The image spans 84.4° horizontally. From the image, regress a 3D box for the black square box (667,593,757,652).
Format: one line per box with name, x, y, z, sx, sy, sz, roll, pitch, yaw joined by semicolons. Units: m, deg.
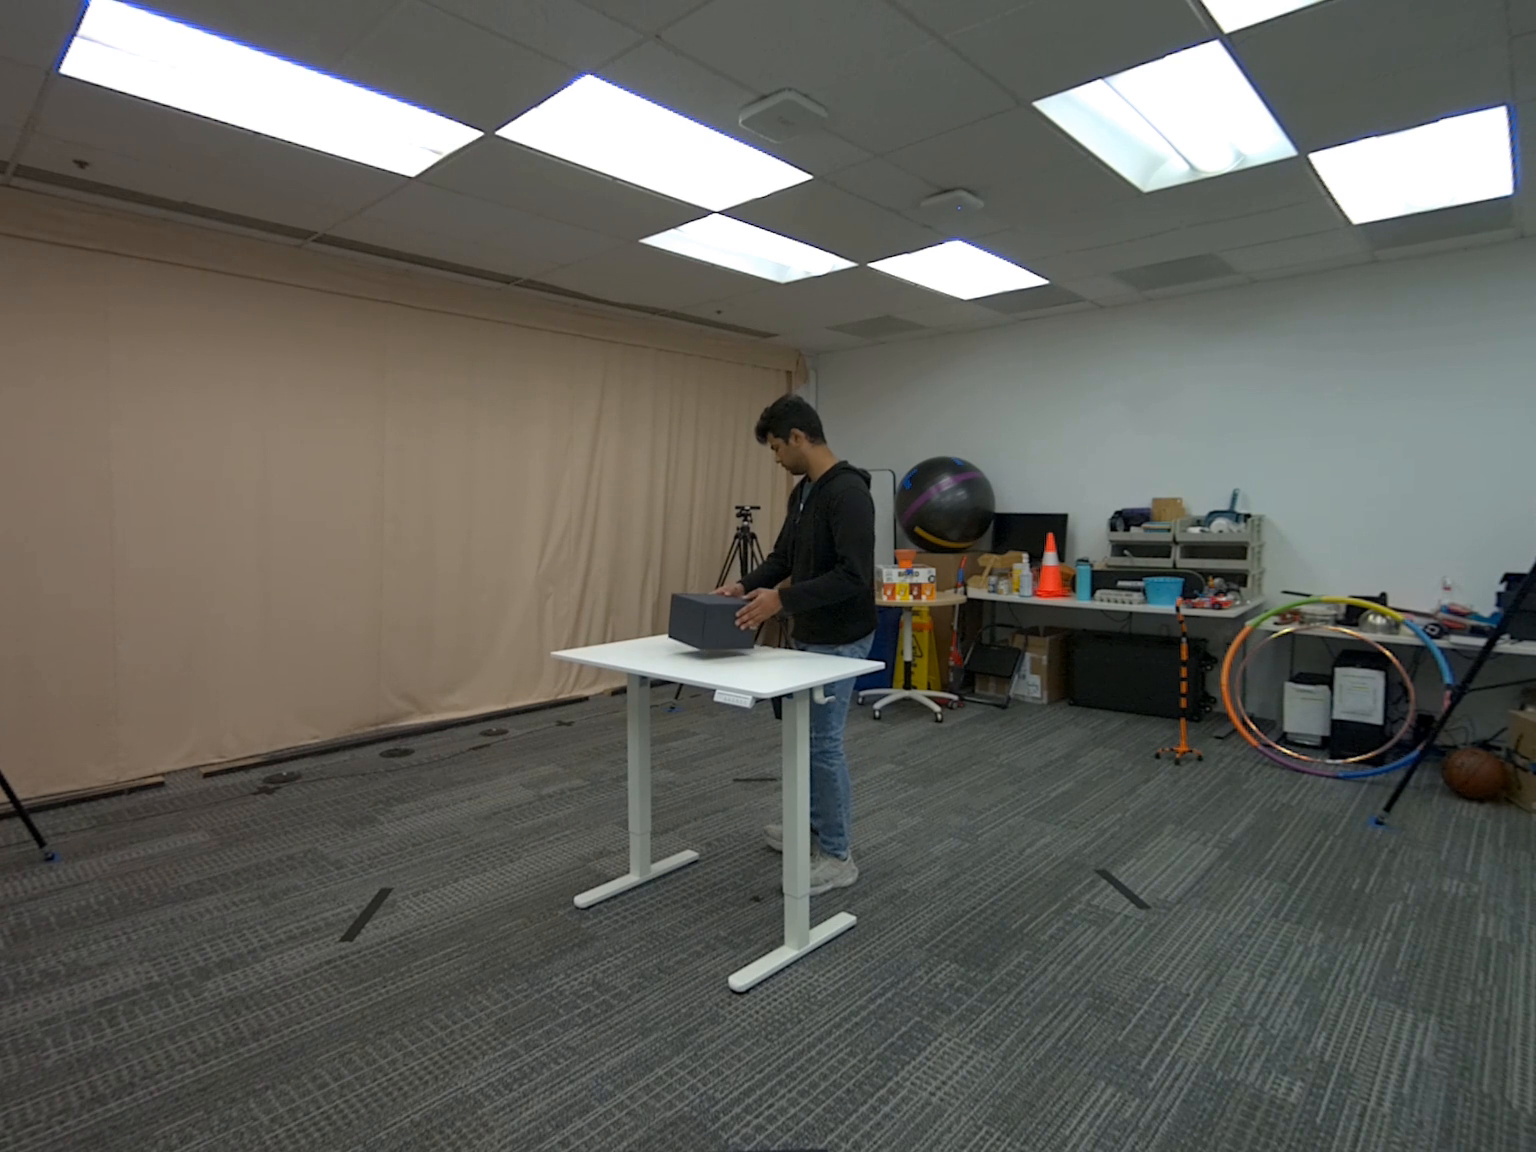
black square box;-0.191;0.153;2.908;0.210;0.155;0.235;2;5;-34
